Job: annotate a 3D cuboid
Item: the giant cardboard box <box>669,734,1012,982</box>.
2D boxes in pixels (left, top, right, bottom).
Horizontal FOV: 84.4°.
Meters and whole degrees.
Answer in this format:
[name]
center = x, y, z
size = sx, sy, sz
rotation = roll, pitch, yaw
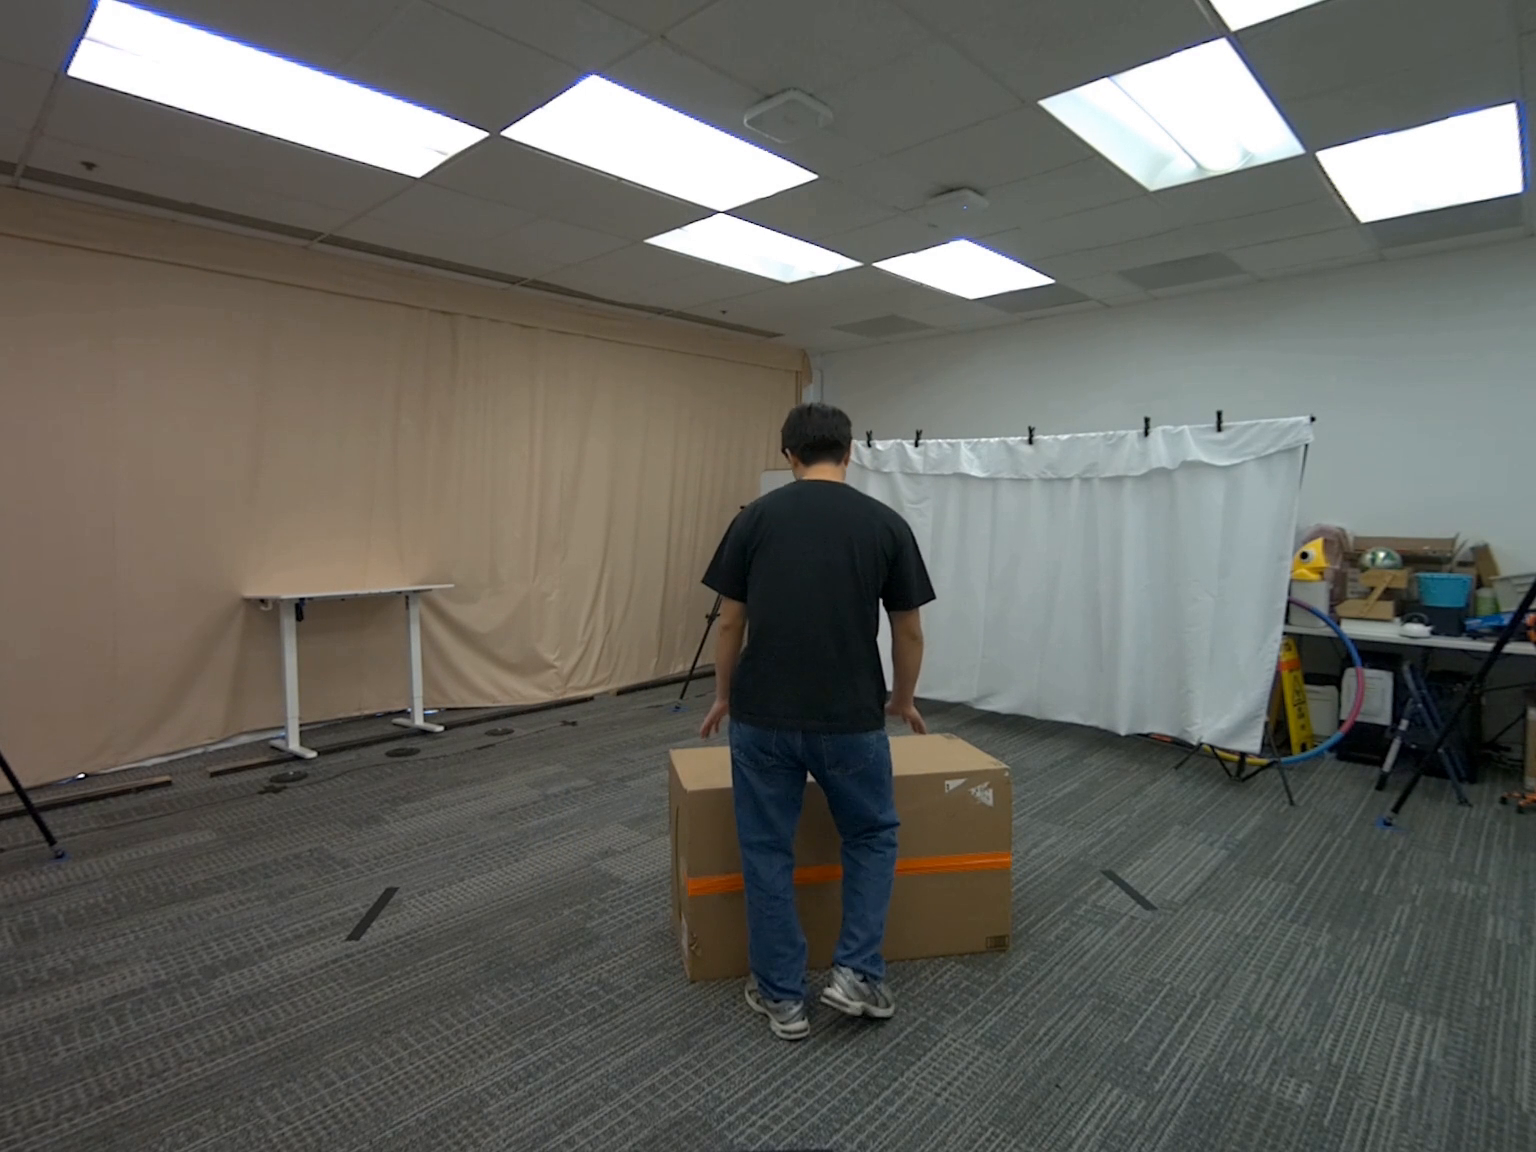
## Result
[giant cardboard box]
center = 0.214, 0.876, 2.735
size = 1.015, 0.582, 0.453
rotation = -2, 5, -11
